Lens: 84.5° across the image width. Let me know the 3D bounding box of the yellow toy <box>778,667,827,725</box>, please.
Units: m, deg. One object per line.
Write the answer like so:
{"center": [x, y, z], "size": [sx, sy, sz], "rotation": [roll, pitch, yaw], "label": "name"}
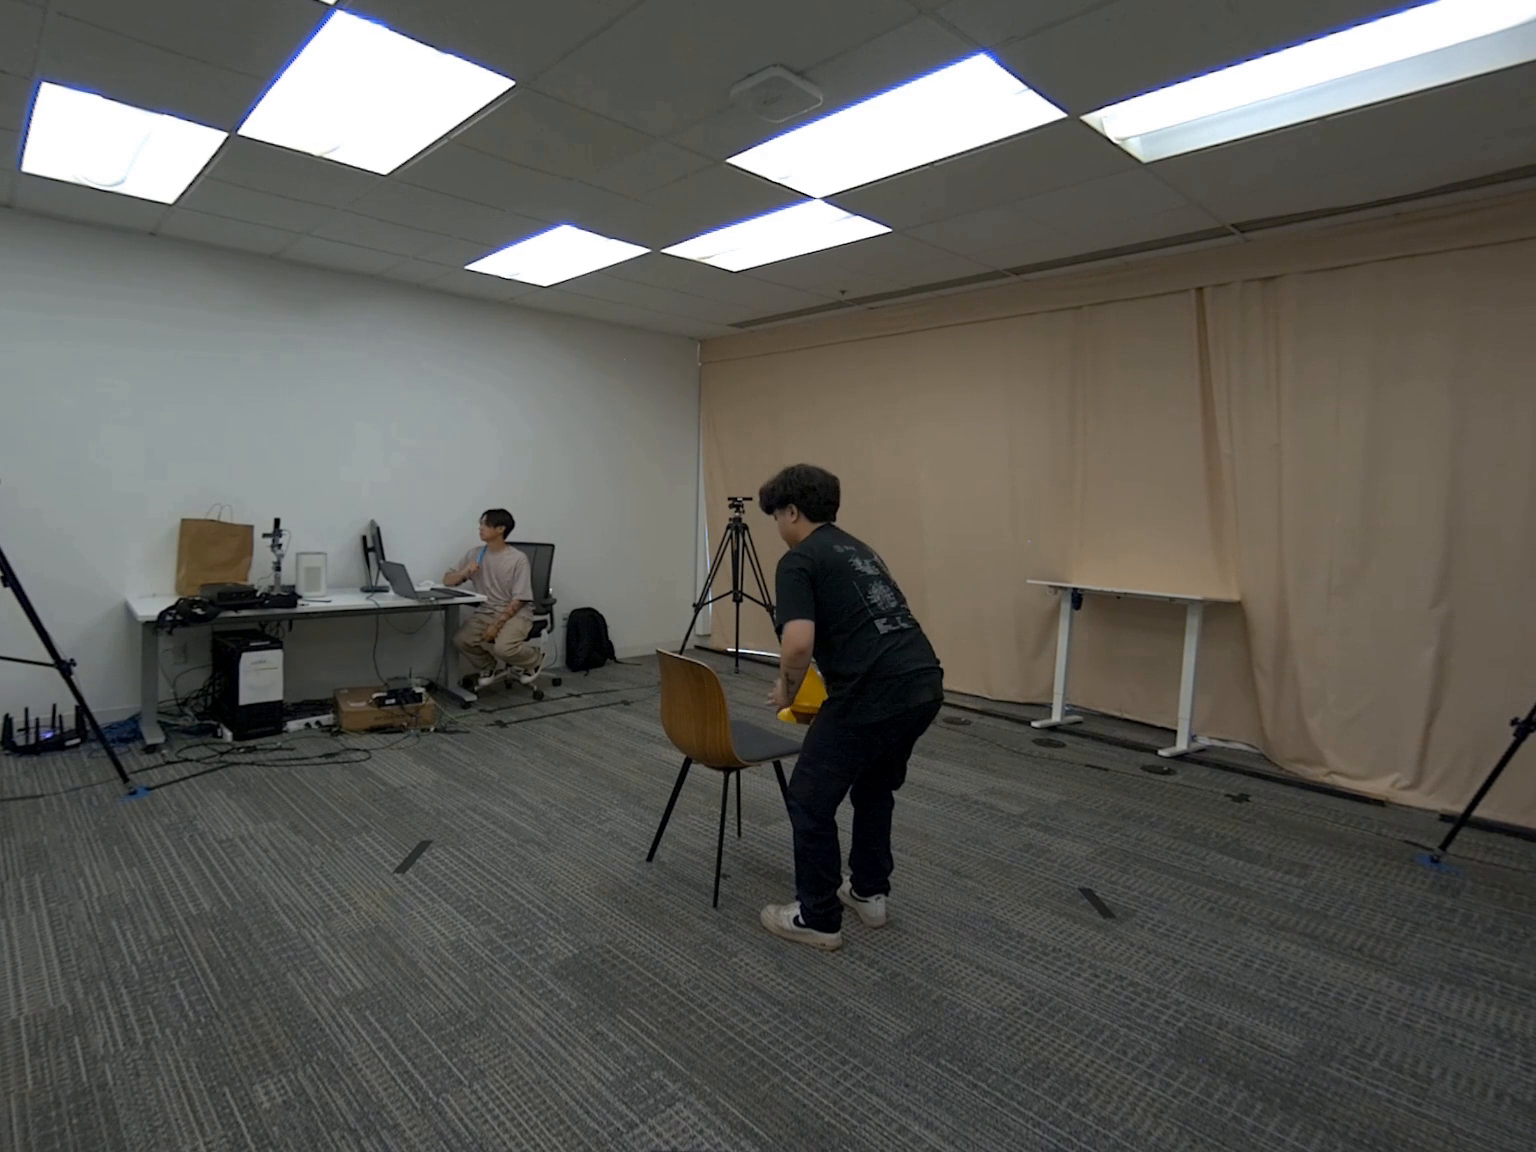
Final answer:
{"center": [0.129, 0.377, 2.863], "size": [0.208, 0.229, 0.192], "rotation": [2, 12, 18], "label": "yellow toy"}
